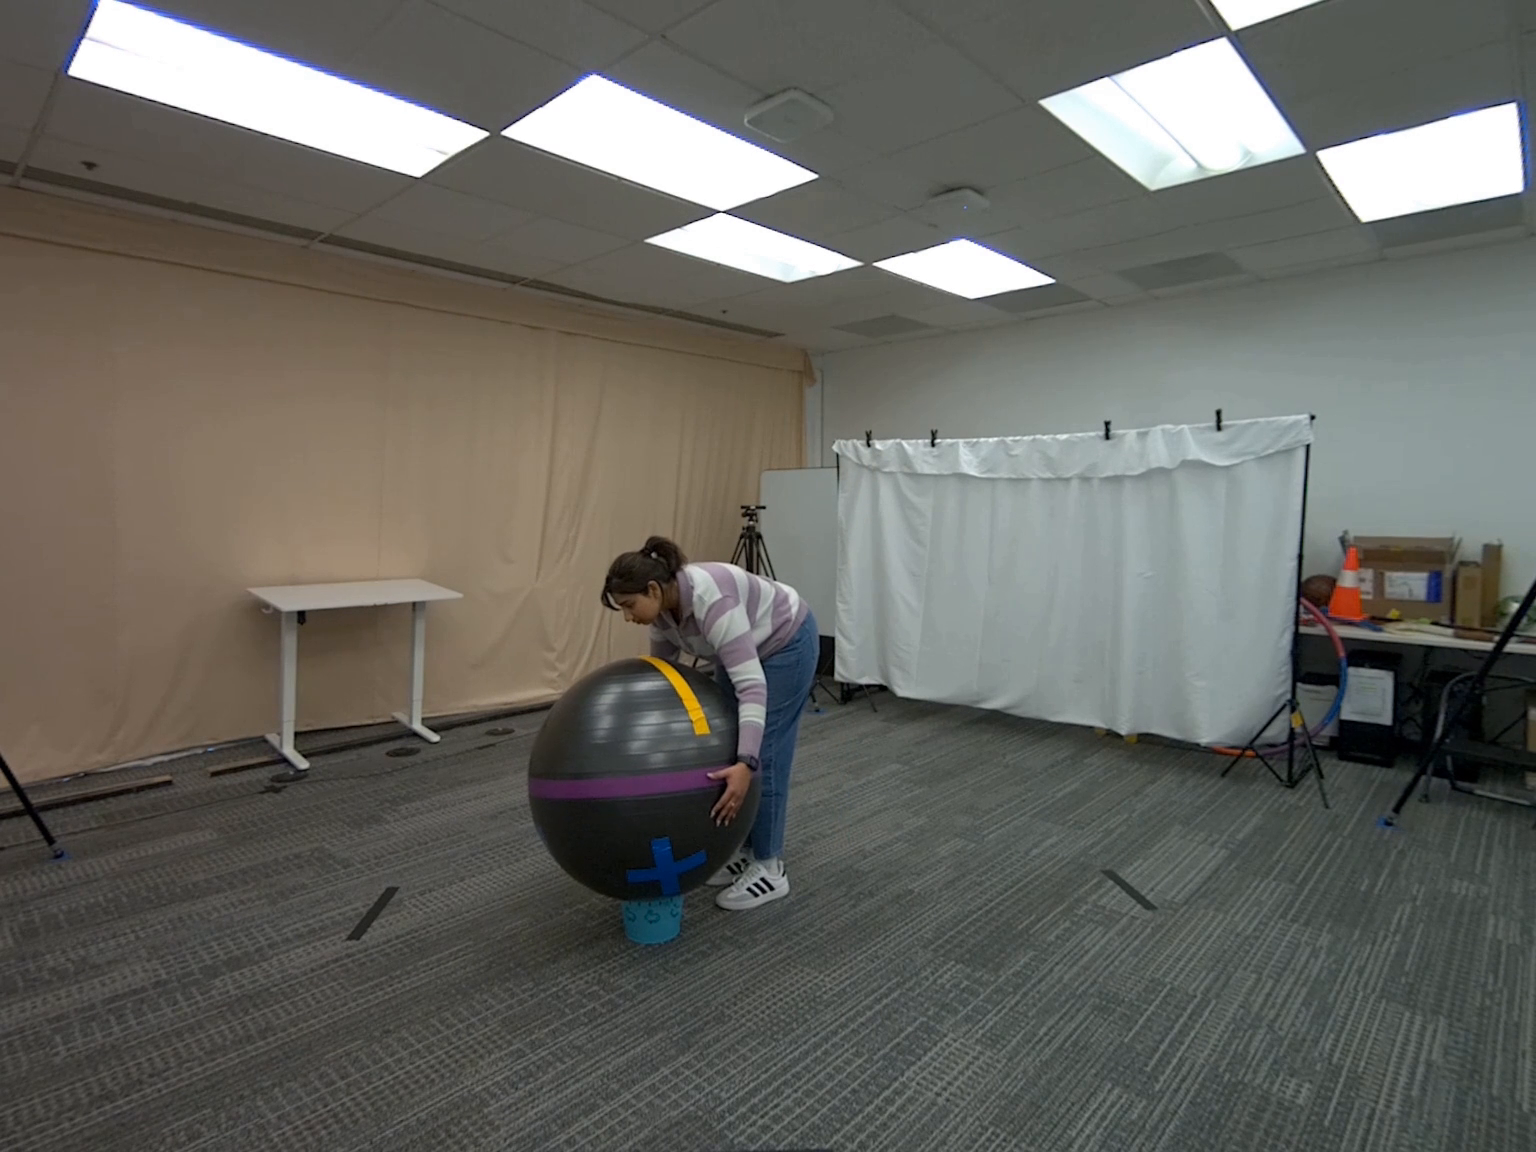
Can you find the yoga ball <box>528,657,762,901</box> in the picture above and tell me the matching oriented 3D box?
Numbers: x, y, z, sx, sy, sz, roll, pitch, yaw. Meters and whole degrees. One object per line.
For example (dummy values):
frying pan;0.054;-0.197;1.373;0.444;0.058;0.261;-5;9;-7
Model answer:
yoga ball;-0.399;0.646;2.737;0.757;0.756;0.761;0;4;-2
